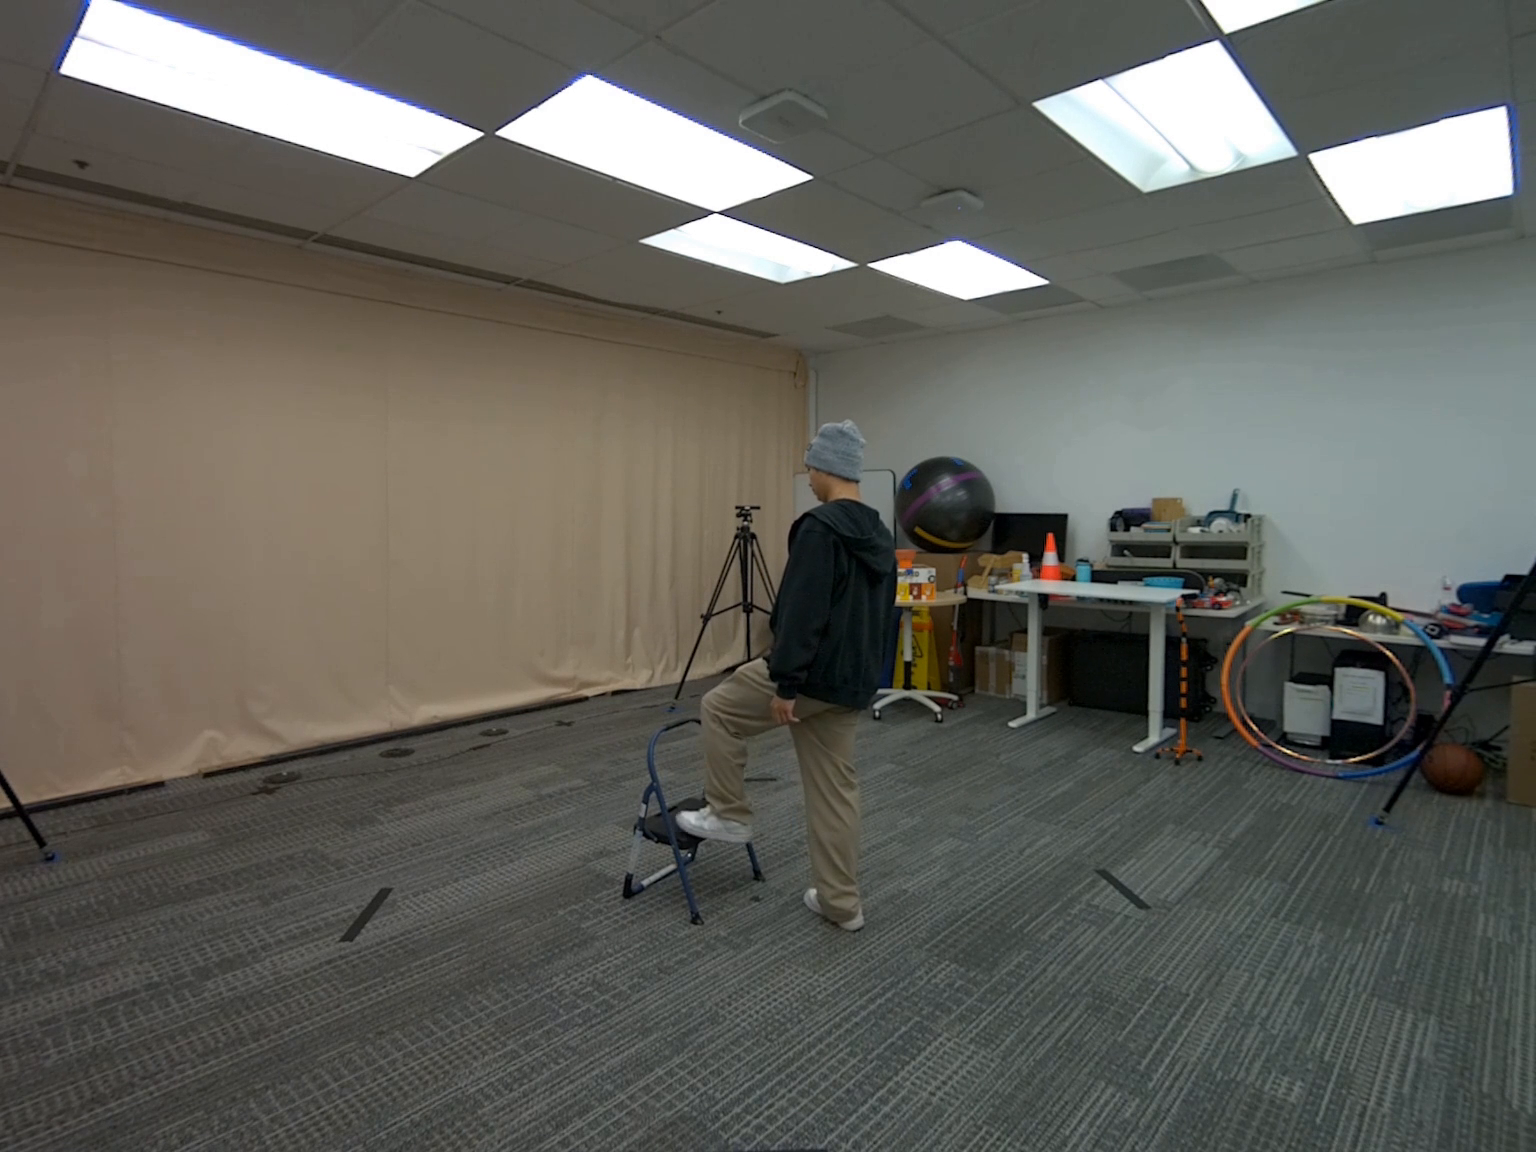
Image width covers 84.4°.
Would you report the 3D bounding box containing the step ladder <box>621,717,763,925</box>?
[{"bbox_3d":[-0.267,0.837,3.055,0.360,0.605,0.419,2,4,32],"label":"step ladder"}]
